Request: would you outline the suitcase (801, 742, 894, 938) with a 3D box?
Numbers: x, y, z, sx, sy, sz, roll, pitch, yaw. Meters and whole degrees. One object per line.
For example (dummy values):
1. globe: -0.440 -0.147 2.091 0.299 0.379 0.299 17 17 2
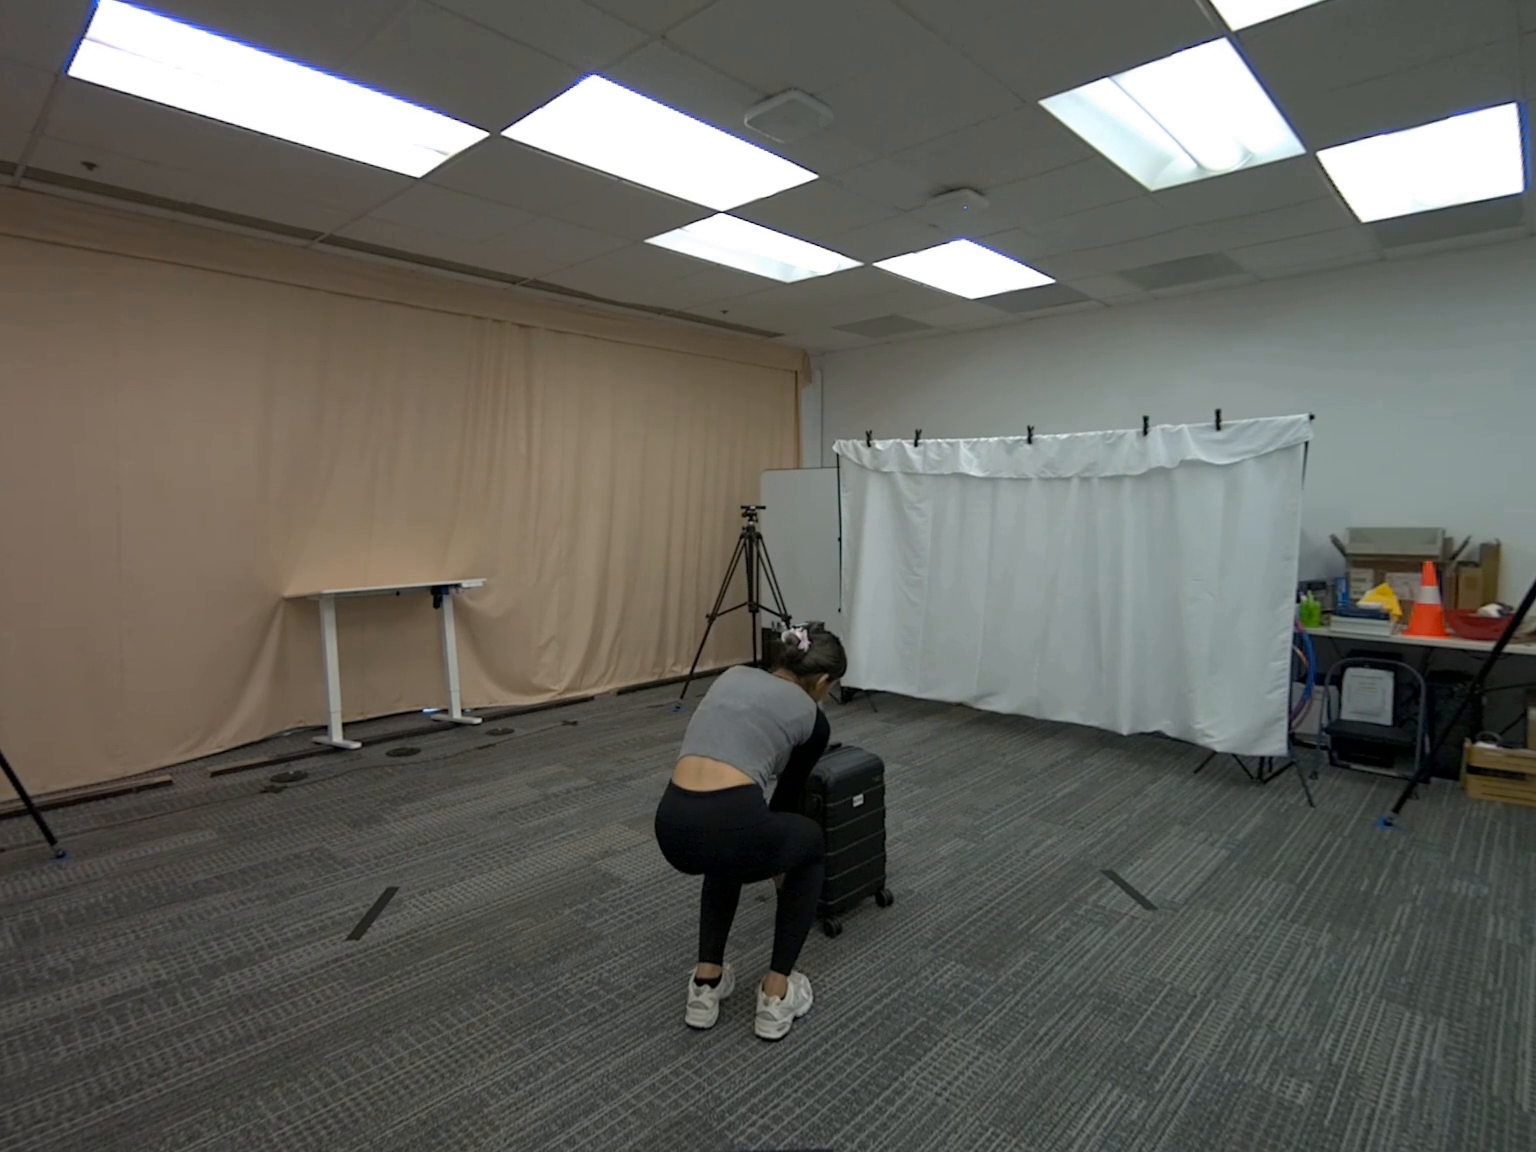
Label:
1. suitcase: 0.230 0.674 2.899 0.266 0.976 0.372 4 5 43
